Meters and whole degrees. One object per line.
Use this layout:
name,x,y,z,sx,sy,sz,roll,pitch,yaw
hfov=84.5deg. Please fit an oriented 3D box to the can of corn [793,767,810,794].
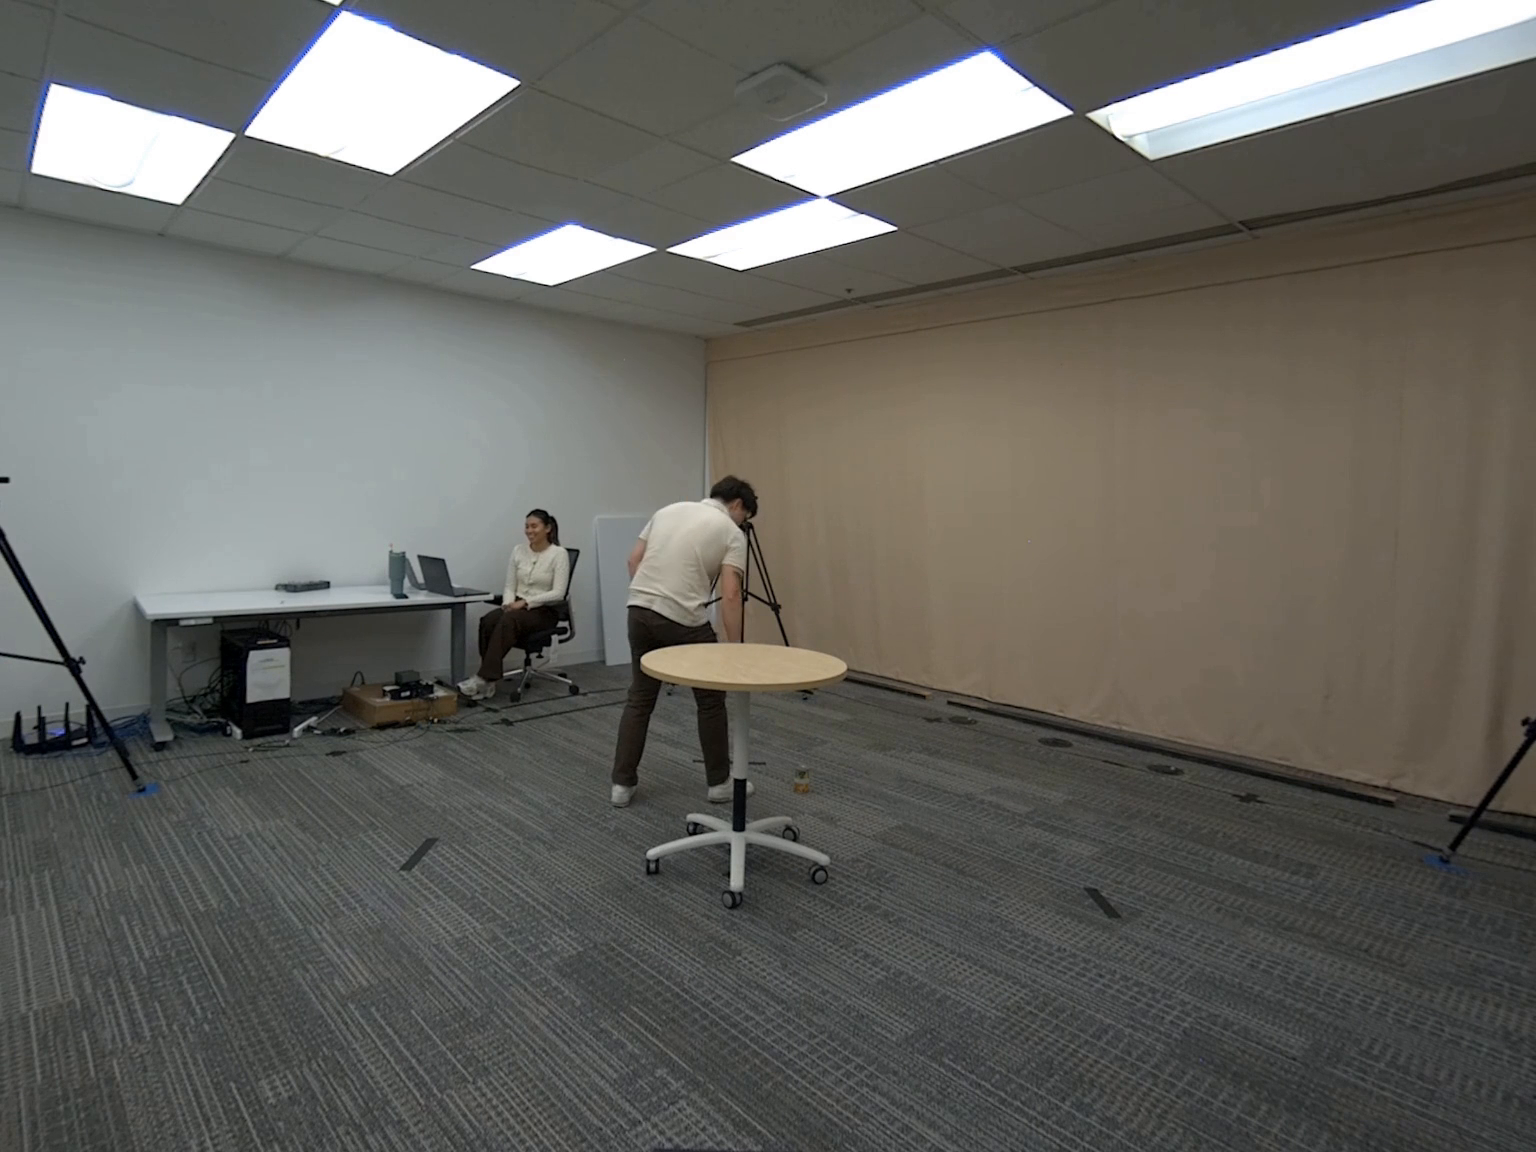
can of corn,0.149,0.970,4.049,0.074,0.111,0.074,0,-1,-1
